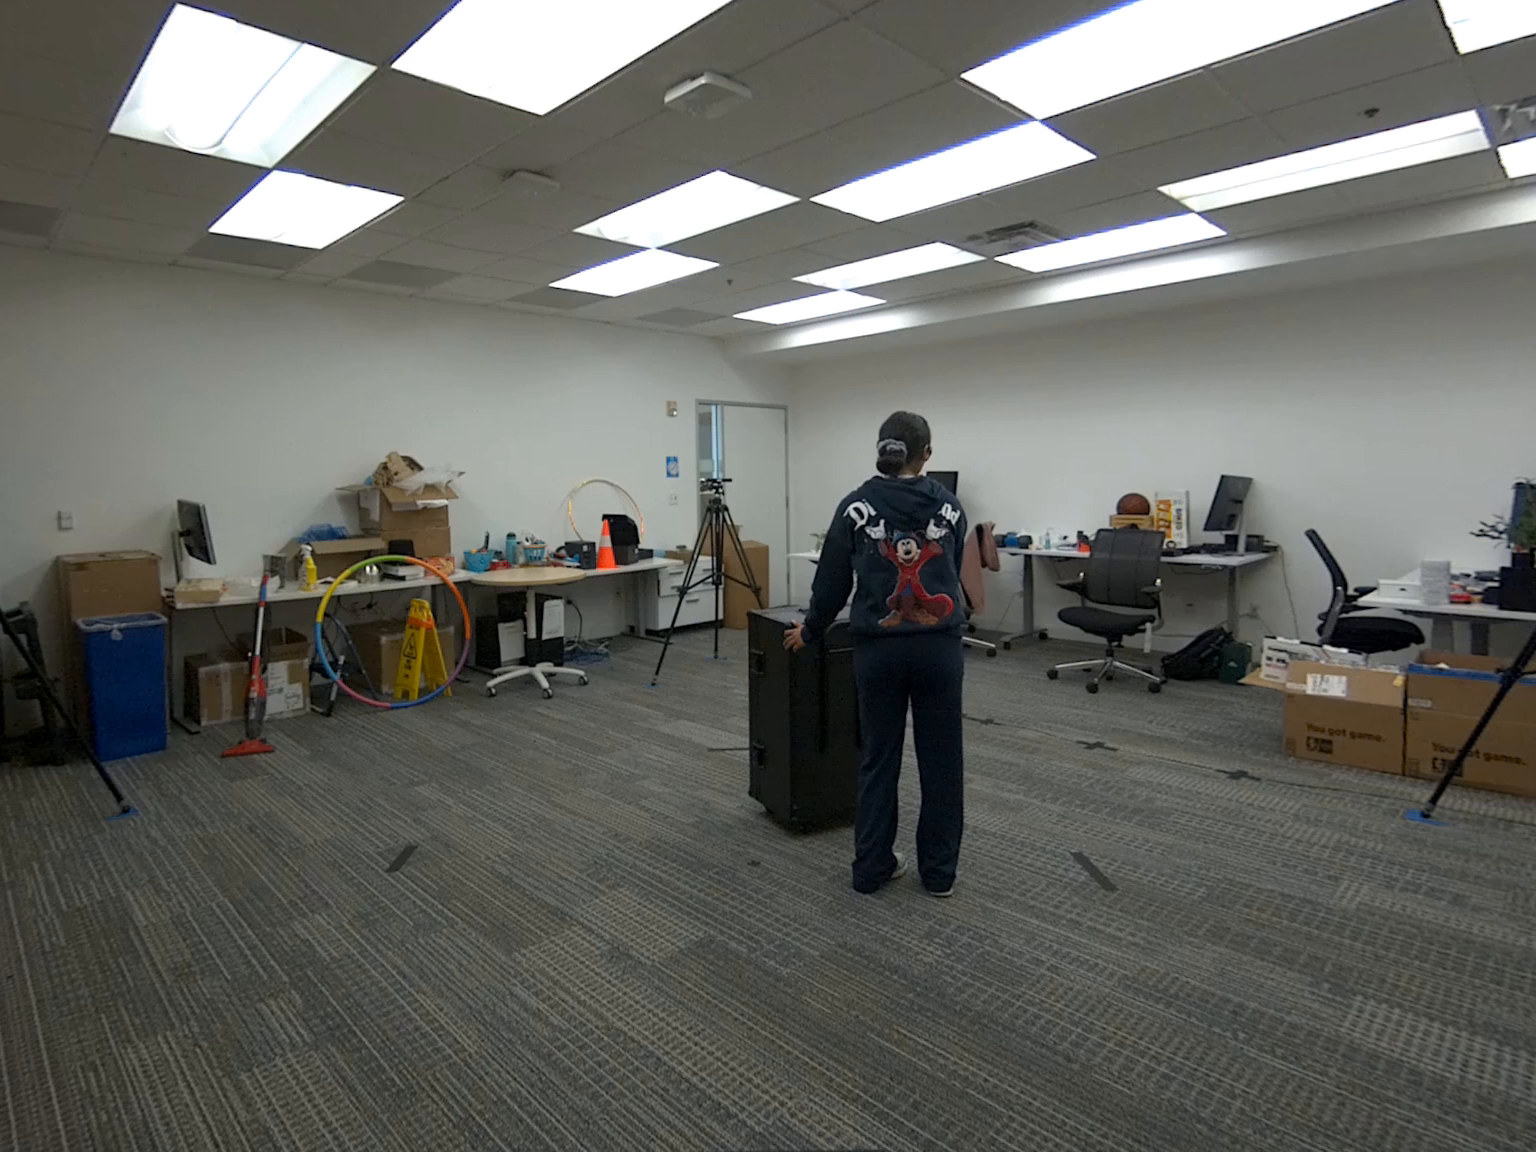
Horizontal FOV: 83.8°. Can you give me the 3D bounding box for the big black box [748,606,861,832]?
[{"bbox_3d":[0.221,0.575,3.494,0.510,0.857,0.407,-2,6,-27],"label":"big black box"}]
